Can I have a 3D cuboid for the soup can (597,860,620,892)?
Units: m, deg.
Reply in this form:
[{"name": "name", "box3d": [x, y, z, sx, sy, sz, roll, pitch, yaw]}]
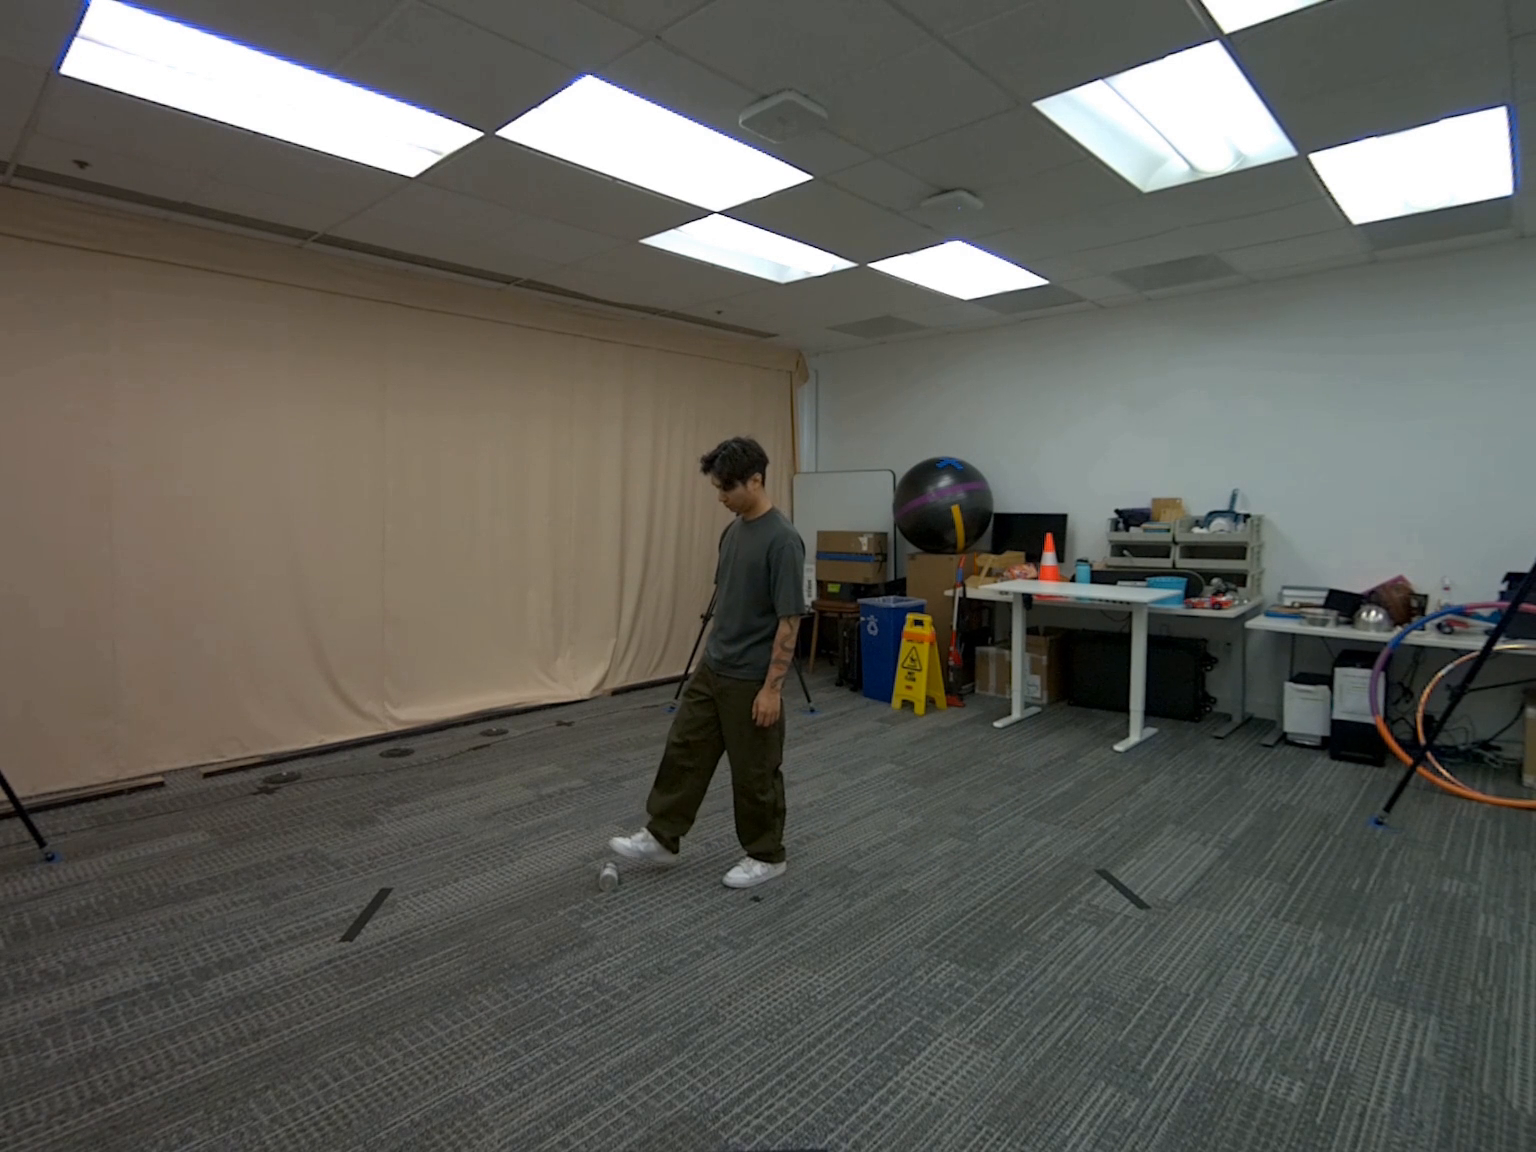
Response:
[{"name": "soup can", "box3d": [-0.587, 1.102, 3.110, 0.067, 0.067, 0.122, 0, 0, -5]}]
